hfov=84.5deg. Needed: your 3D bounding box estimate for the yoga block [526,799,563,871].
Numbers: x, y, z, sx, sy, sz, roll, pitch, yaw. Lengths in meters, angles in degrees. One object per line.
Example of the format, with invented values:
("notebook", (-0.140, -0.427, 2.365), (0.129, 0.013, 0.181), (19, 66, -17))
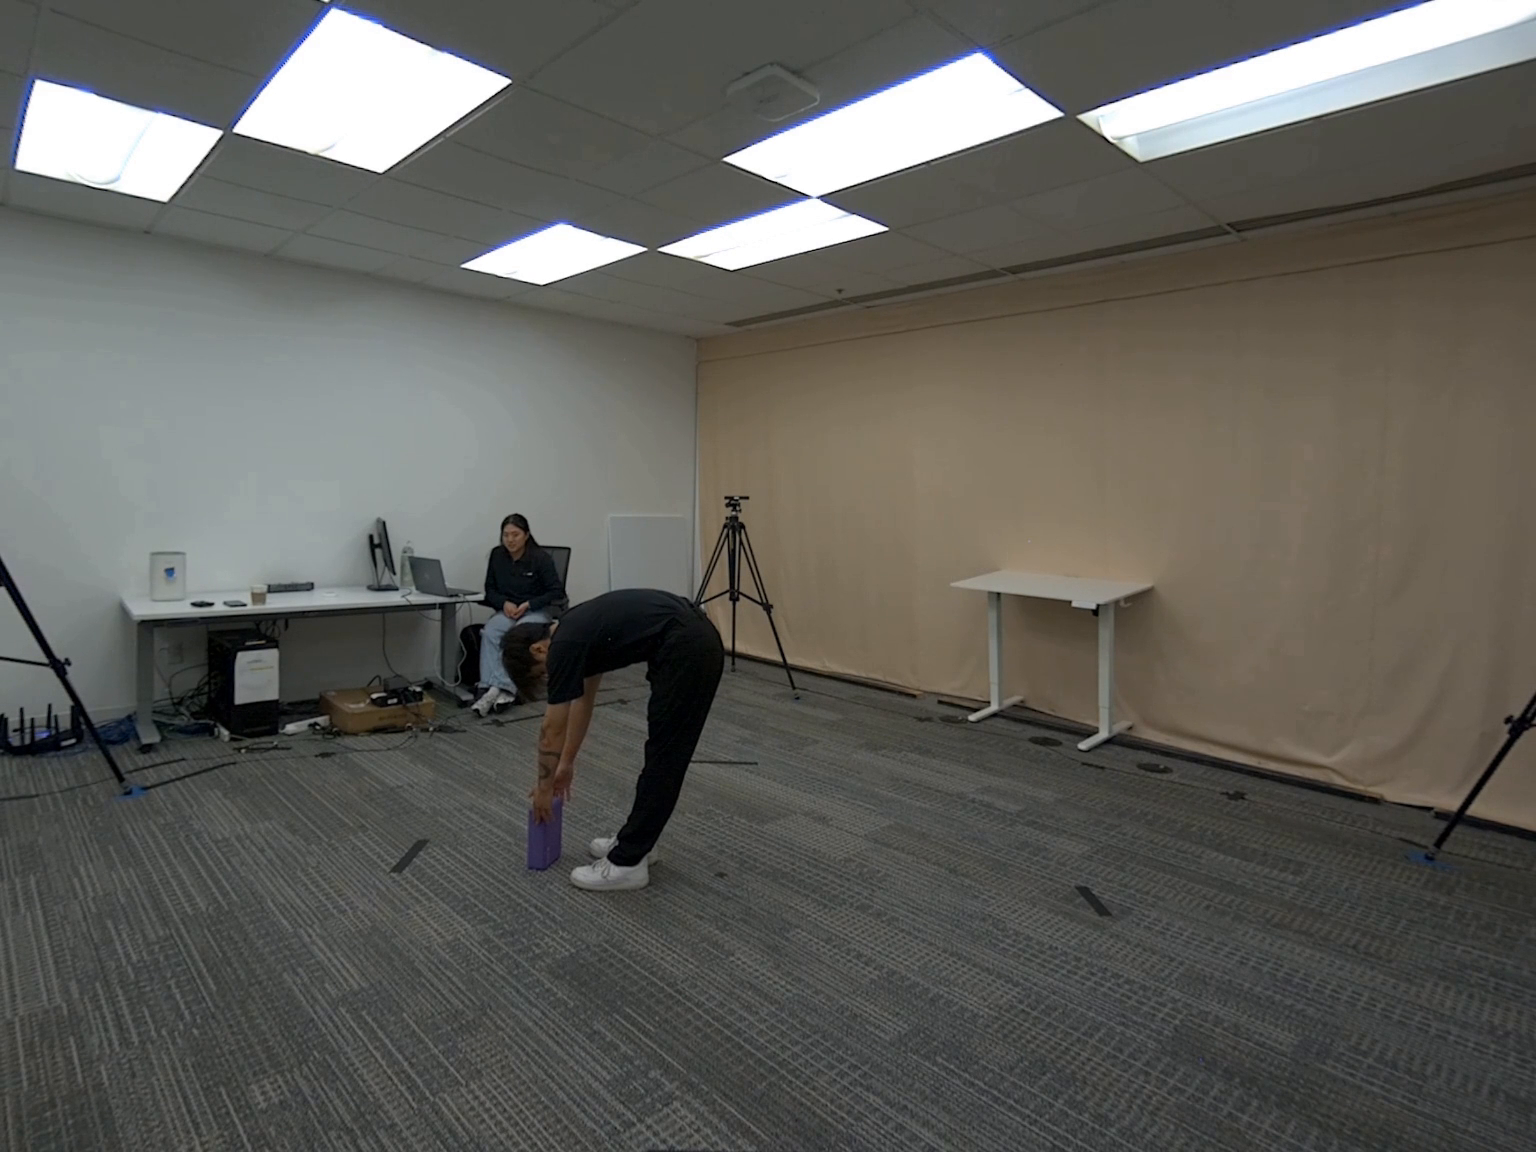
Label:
("yoga block", (-0.839, 0.960, 3.174), (0.077, 0.229, 0.148), (1, 1, 9))
